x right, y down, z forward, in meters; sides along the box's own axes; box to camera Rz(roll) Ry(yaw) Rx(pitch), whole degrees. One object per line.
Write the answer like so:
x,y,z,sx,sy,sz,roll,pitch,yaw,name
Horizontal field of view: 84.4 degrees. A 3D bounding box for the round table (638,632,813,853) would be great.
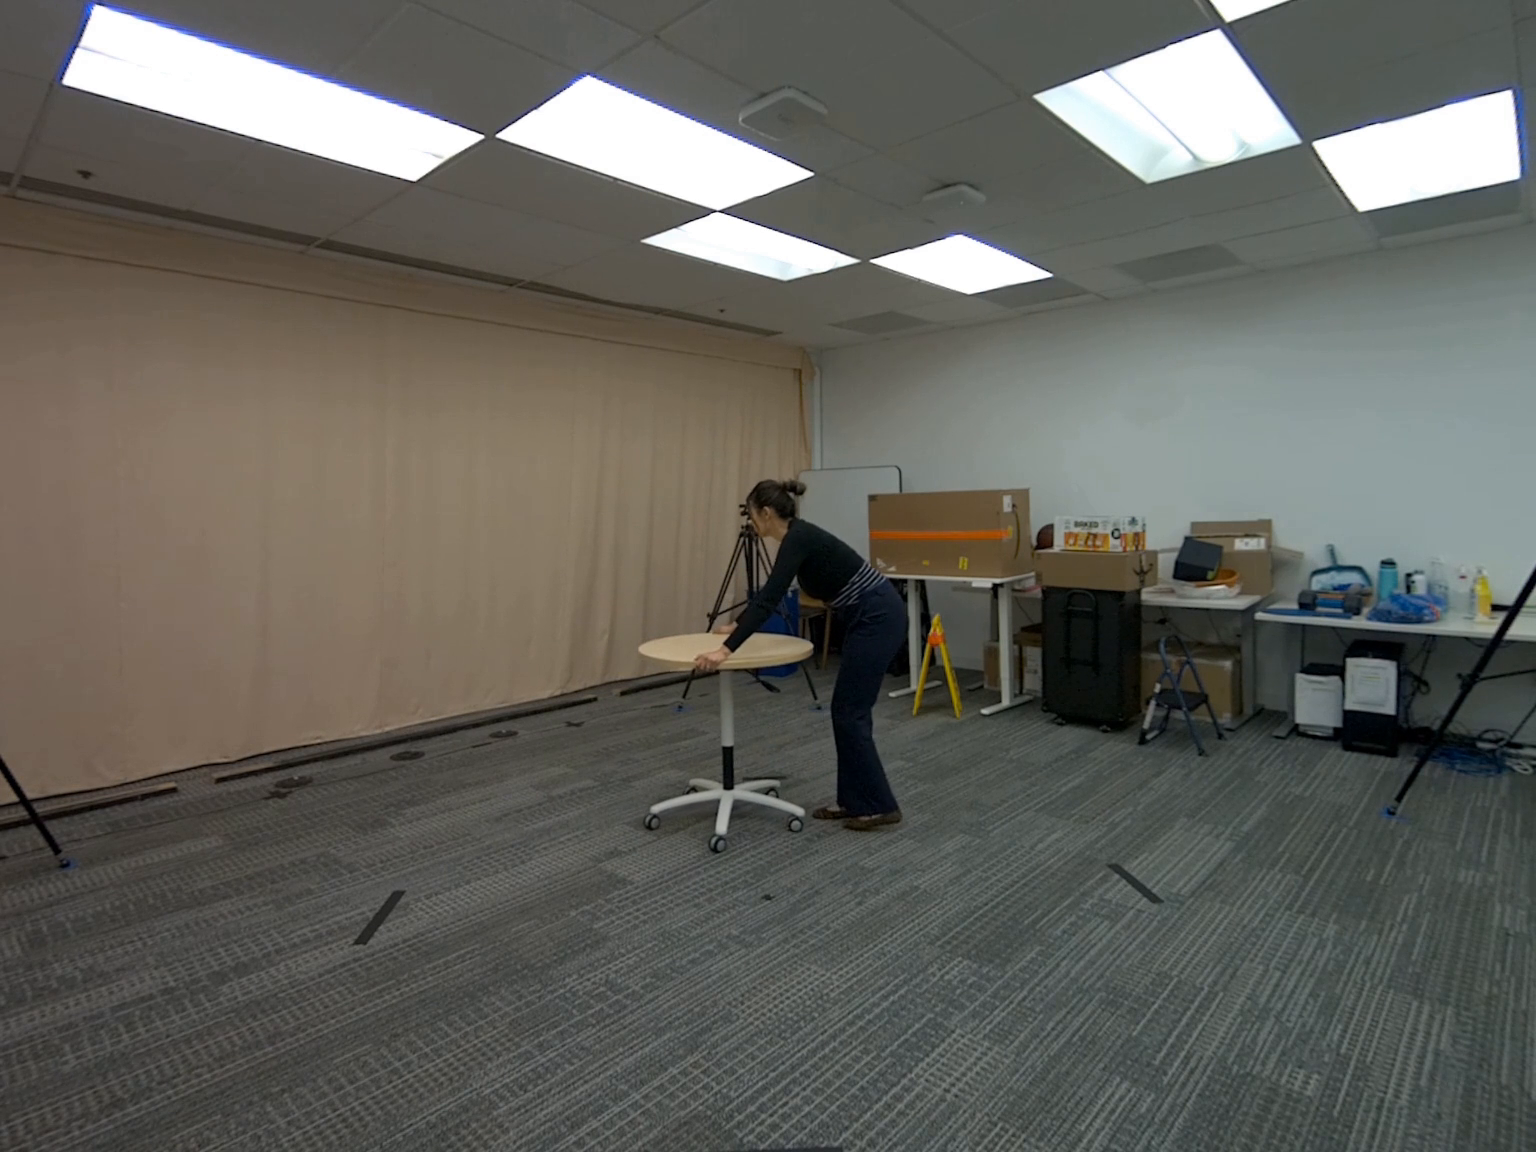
-0.184,0.698,3.707,0.763,0.792,0.766,-1,3,-2,round table
